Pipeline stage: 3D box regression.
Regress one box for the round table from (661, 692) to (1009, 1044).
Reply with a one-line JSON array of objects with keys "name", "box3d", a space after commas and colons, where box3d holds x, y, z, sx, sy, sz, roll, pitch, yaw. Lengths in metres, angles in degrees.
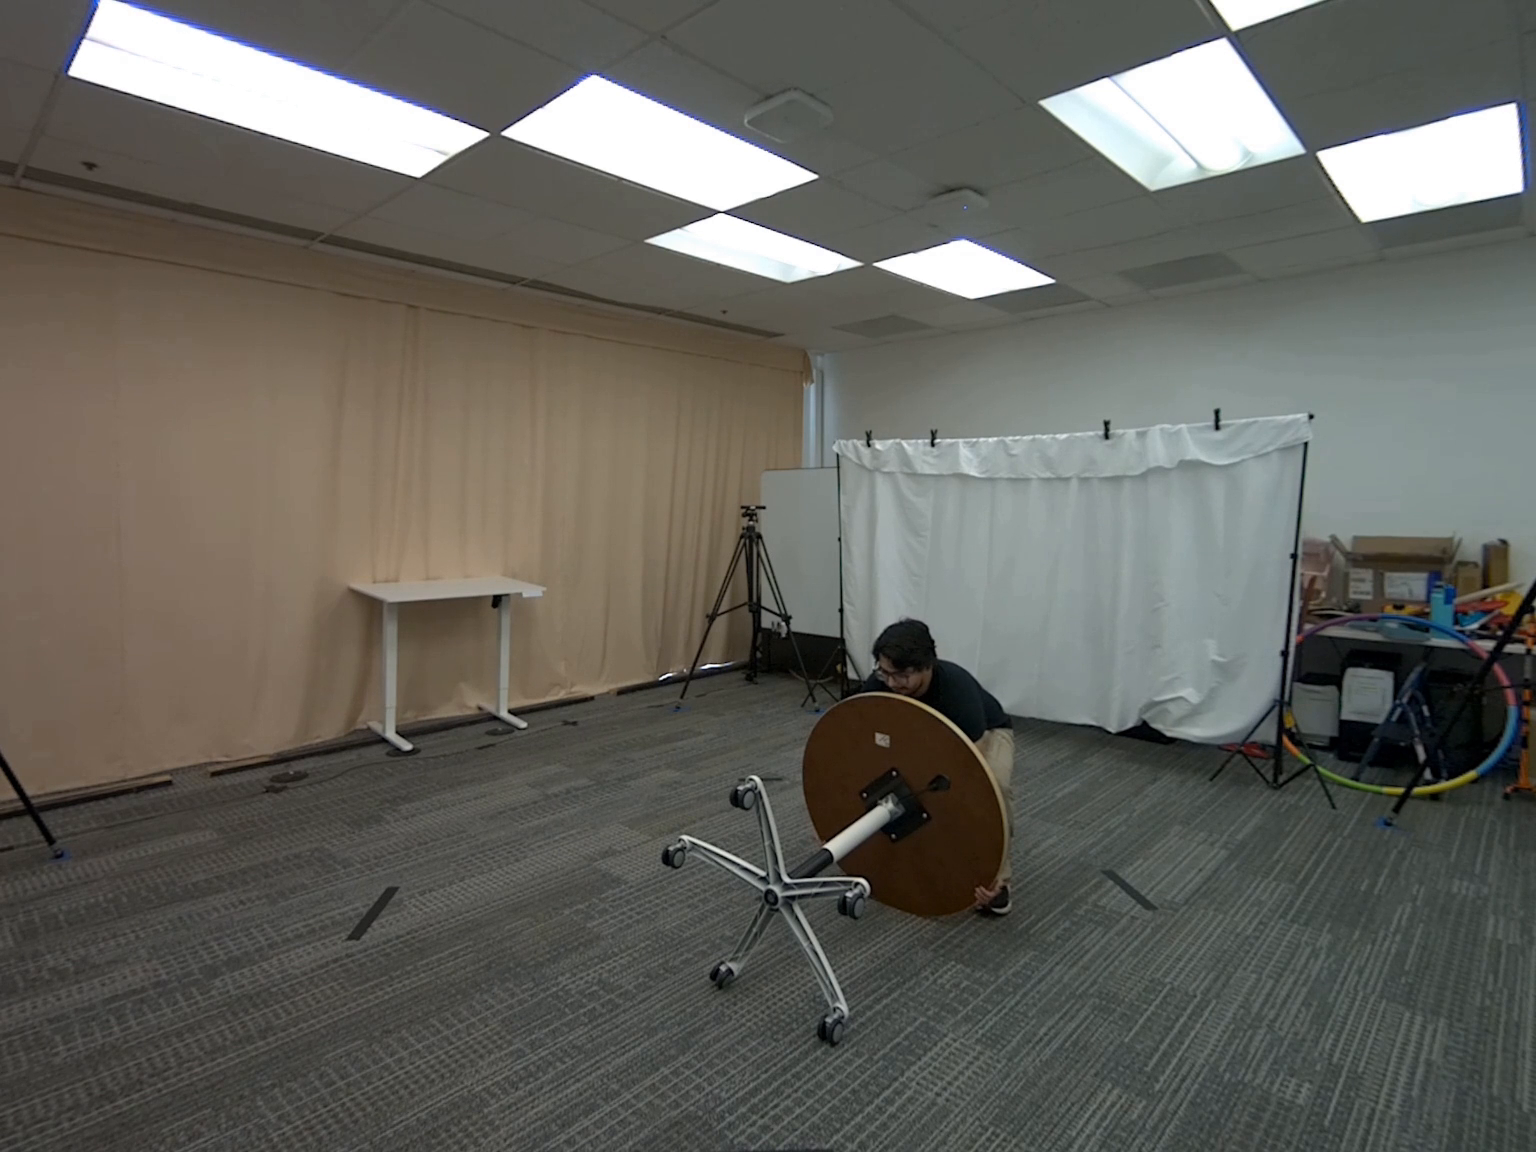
[{"name": "round table", "box3d": [0.202, 0.845, 2.572, 0.811, 0.780, 0.766, 3, 12, 40]}]
